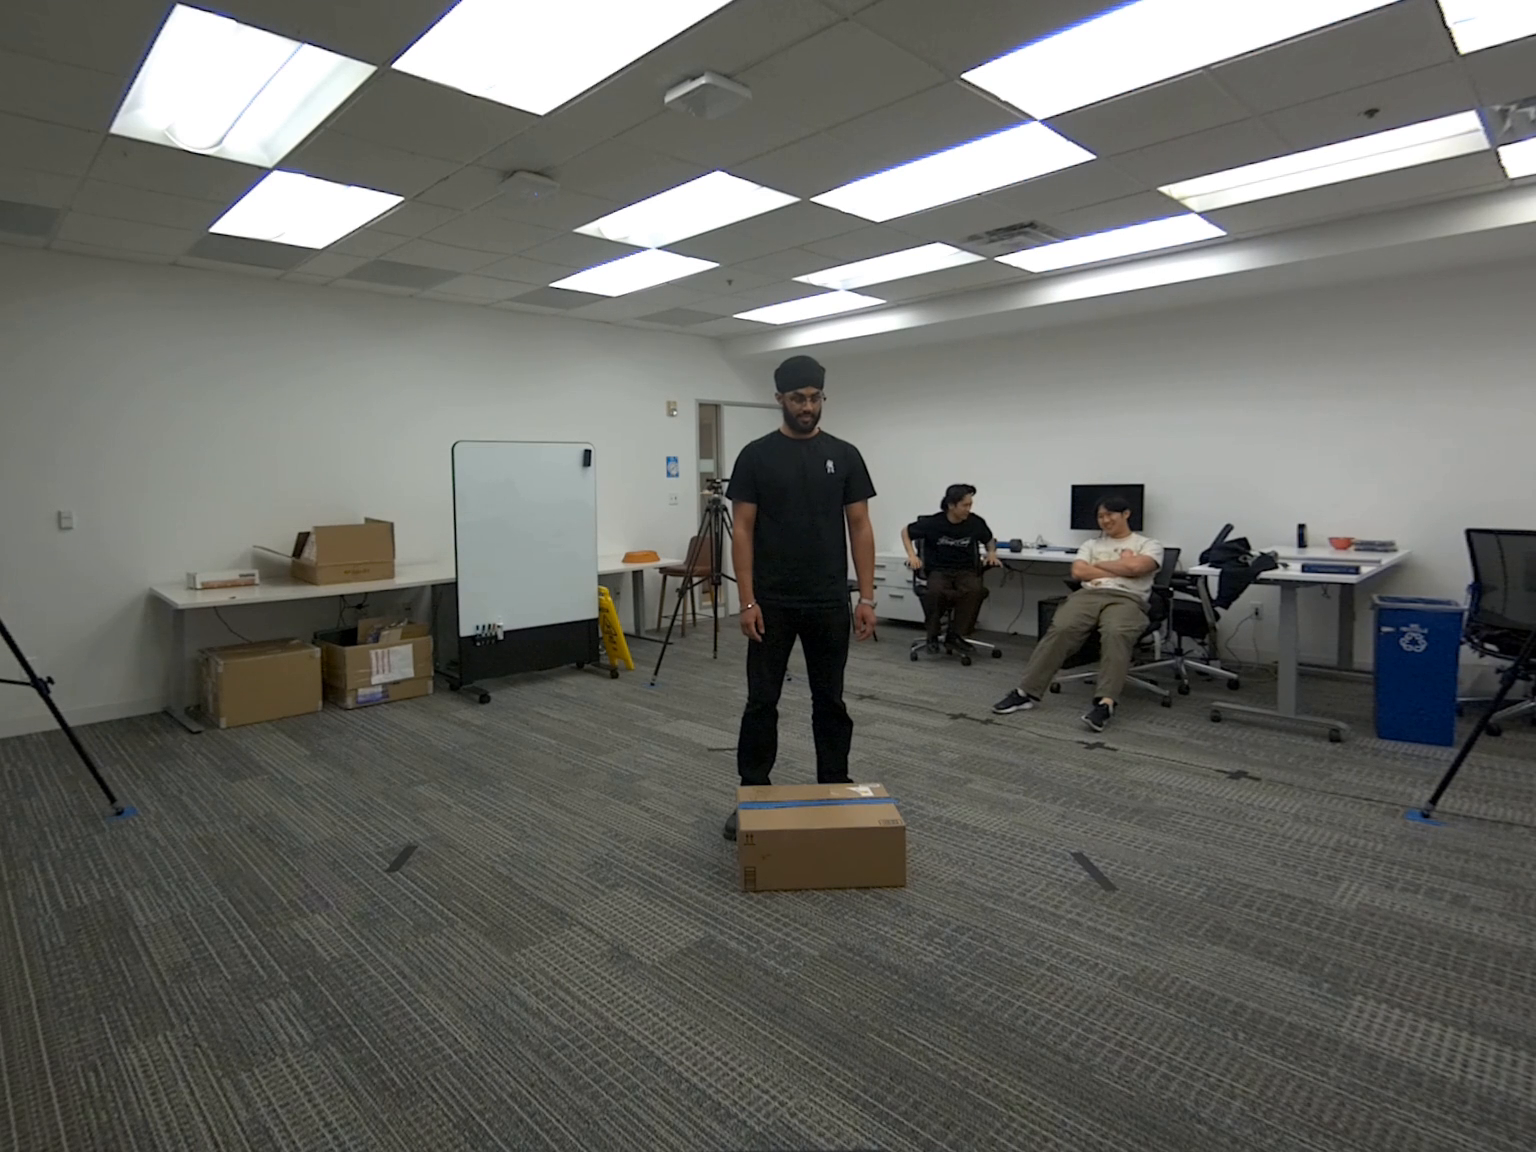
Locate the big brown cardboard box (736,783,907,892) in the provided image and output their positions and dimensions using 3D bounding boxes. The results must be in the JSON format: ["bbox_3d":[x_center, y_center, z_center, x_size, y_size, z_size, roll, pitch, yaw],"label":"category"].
[{"bbox_3d":[0.183,0.938,3.090,0.587,0.232,0.421,-2,7,-4],"label":"big brown cardboard box"}]
